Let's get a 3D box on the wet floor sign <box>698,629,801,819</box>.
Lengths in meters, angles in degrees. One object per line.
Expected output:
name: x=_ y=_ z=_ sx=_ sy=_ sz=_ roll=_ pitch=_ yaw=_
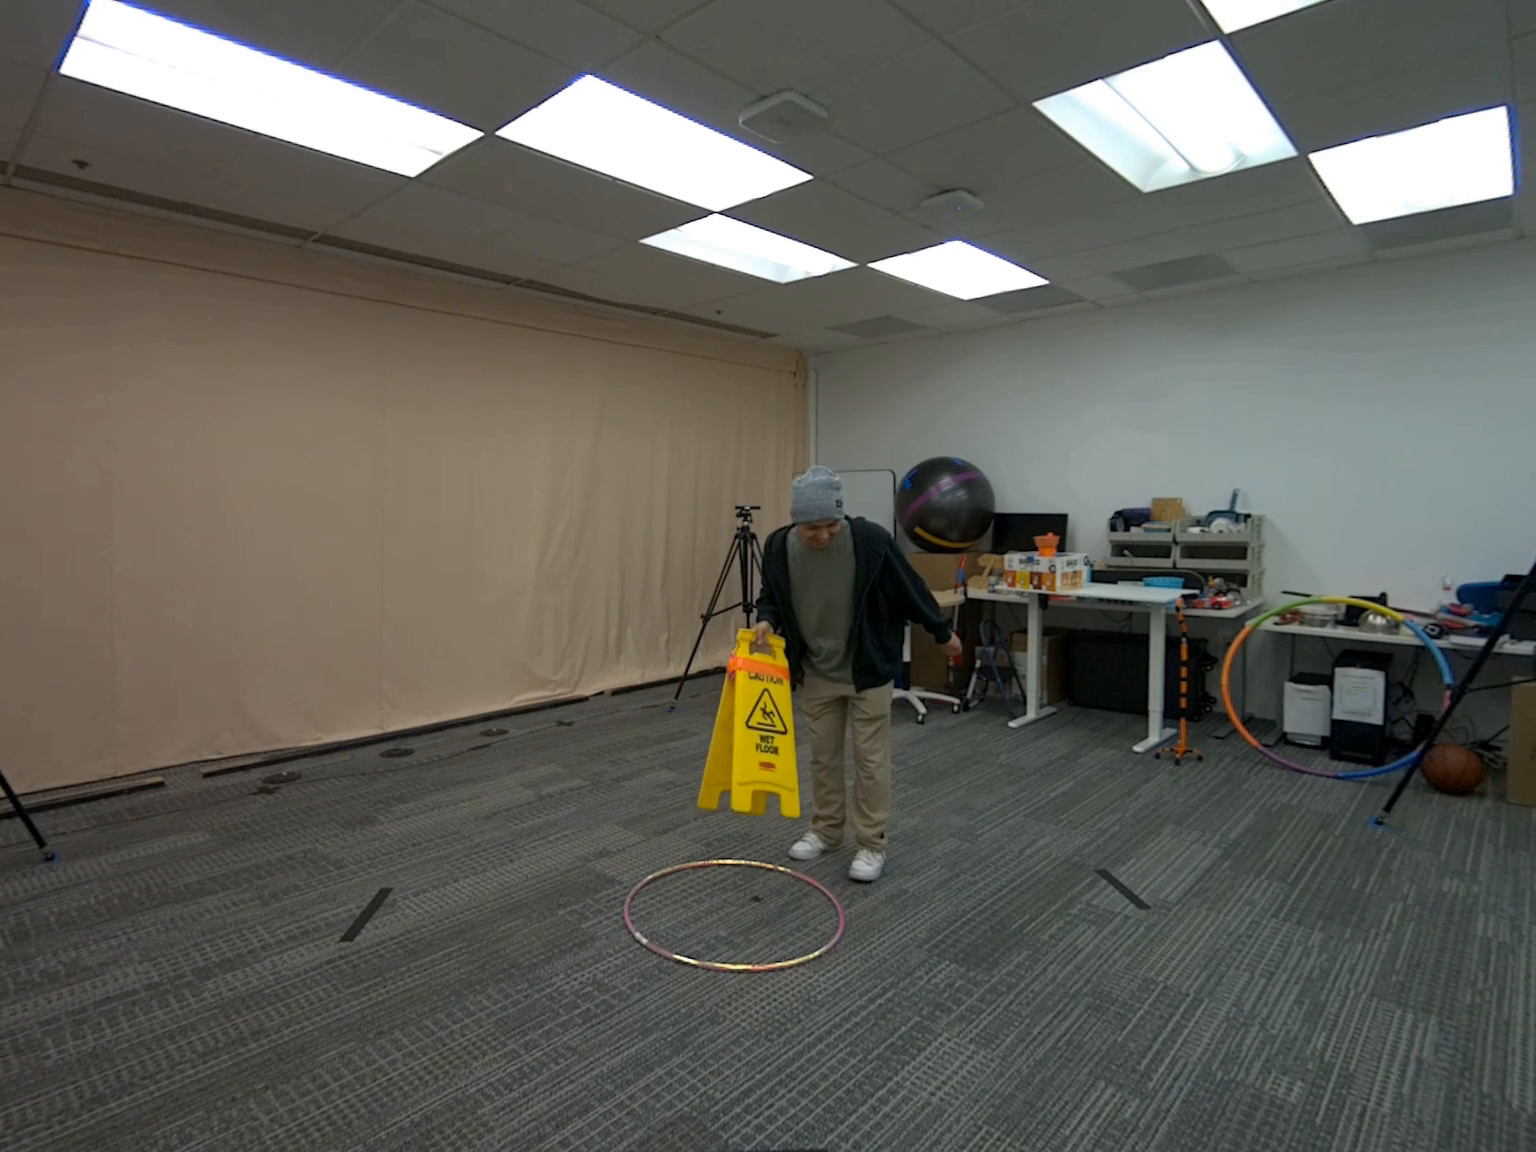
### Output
wet floor sign: x=-0.050 y=0.527 z=3.073 sx=0.274 sy=0.651 sz=0.295 roll=13 pitch=-19 yaw=-27
